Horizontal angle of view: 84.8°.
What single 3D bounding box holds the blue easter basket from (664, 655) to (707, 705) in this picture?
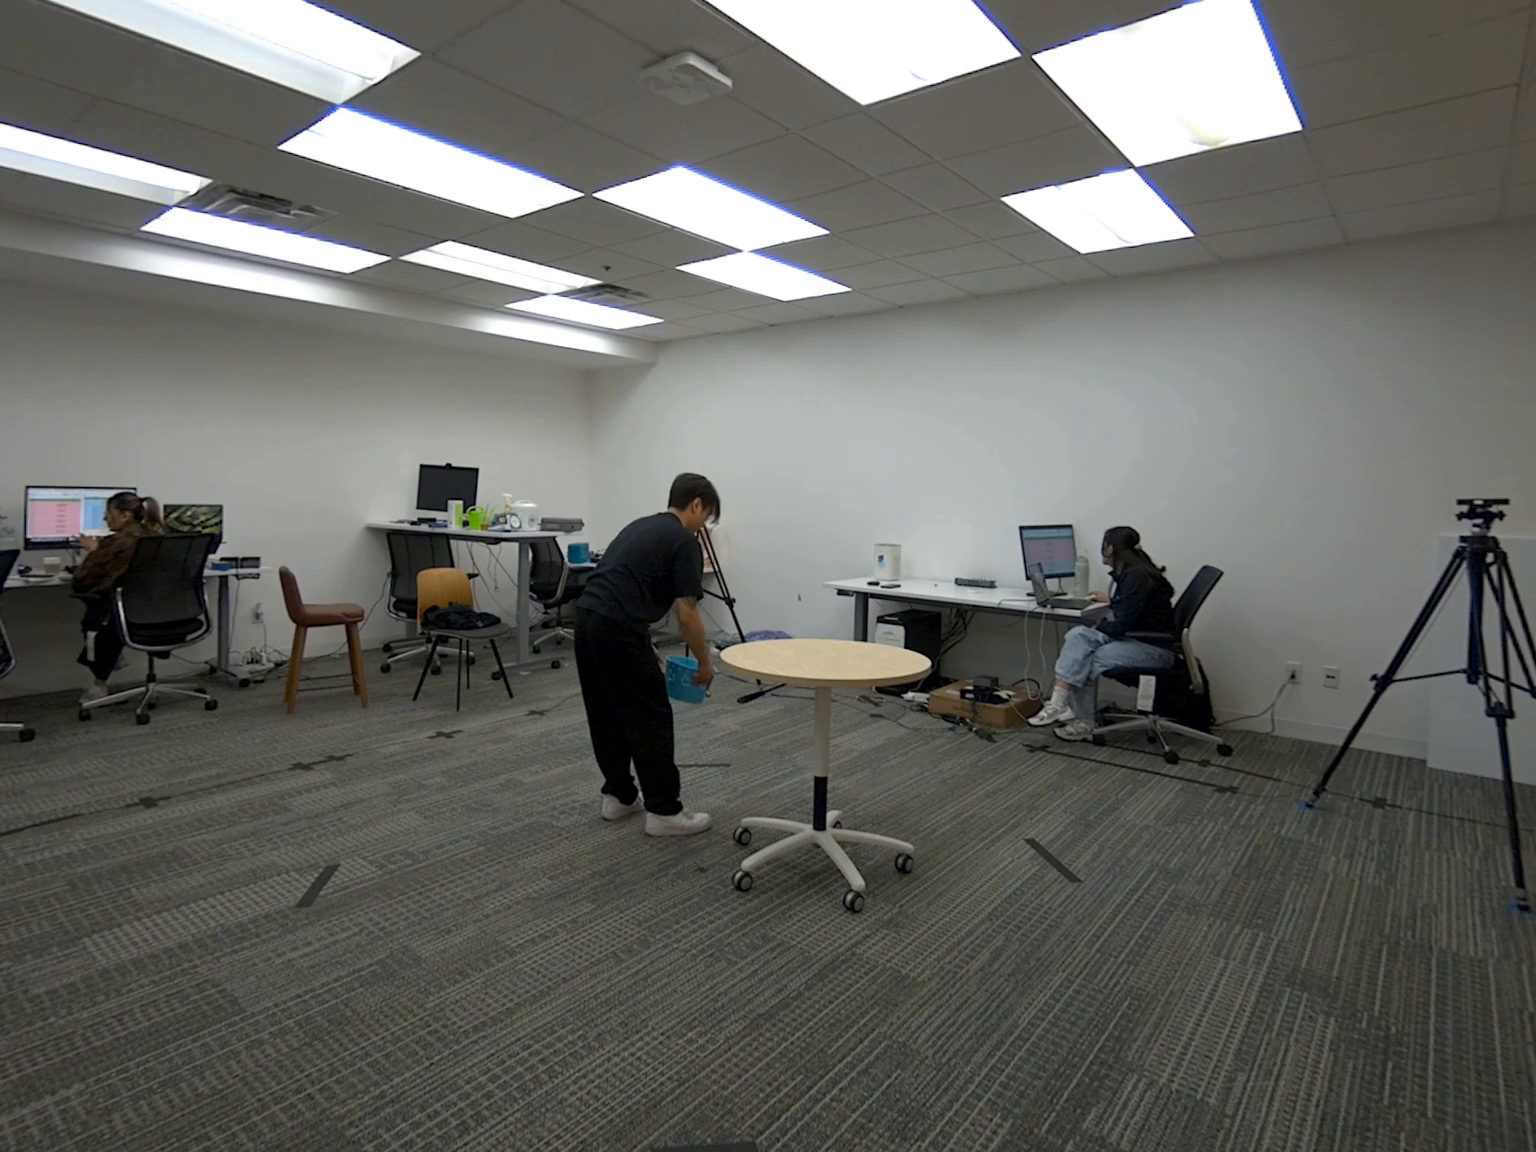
[{"bbox_3d":[-0.359,0.457,3.705,0.243,0.155,0.245,14,4,-3],"label":"blue easter basket"}]
